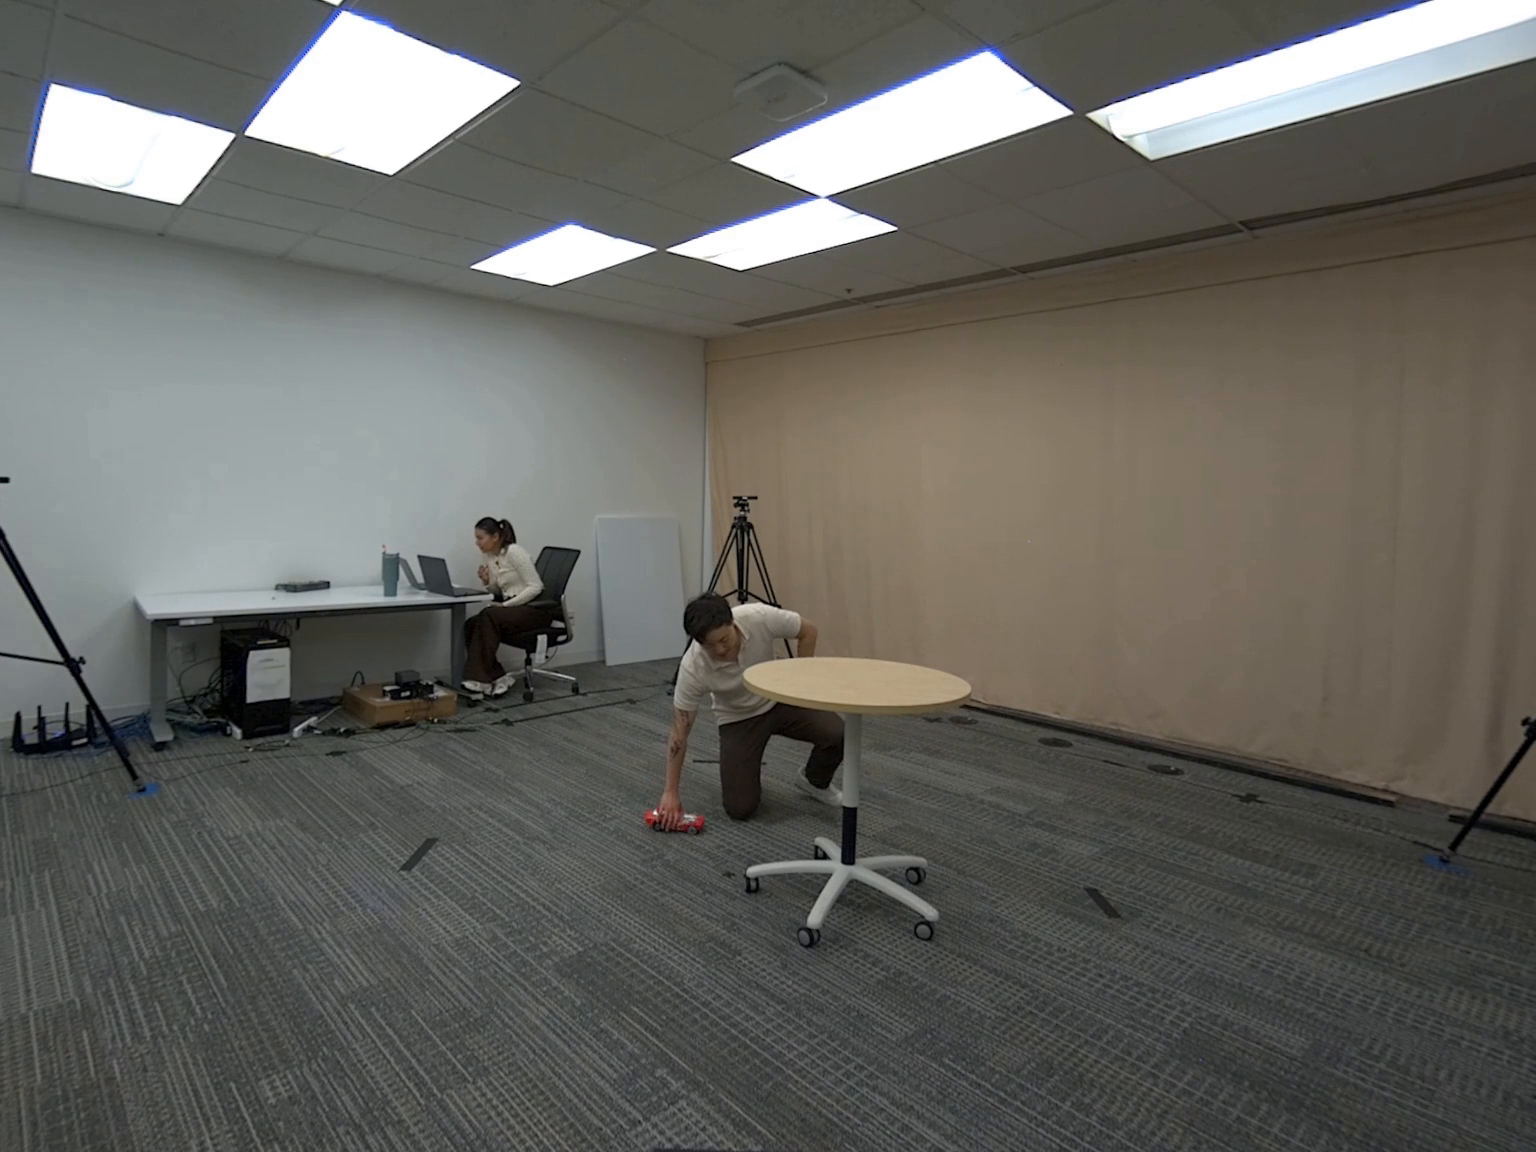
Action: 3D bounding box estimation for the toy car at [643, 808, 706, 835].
[{"bbox_3d":[-0.408,1.031,3.538,0.256,0.083,0.129,13,6,8],"label":"toy car"}]
